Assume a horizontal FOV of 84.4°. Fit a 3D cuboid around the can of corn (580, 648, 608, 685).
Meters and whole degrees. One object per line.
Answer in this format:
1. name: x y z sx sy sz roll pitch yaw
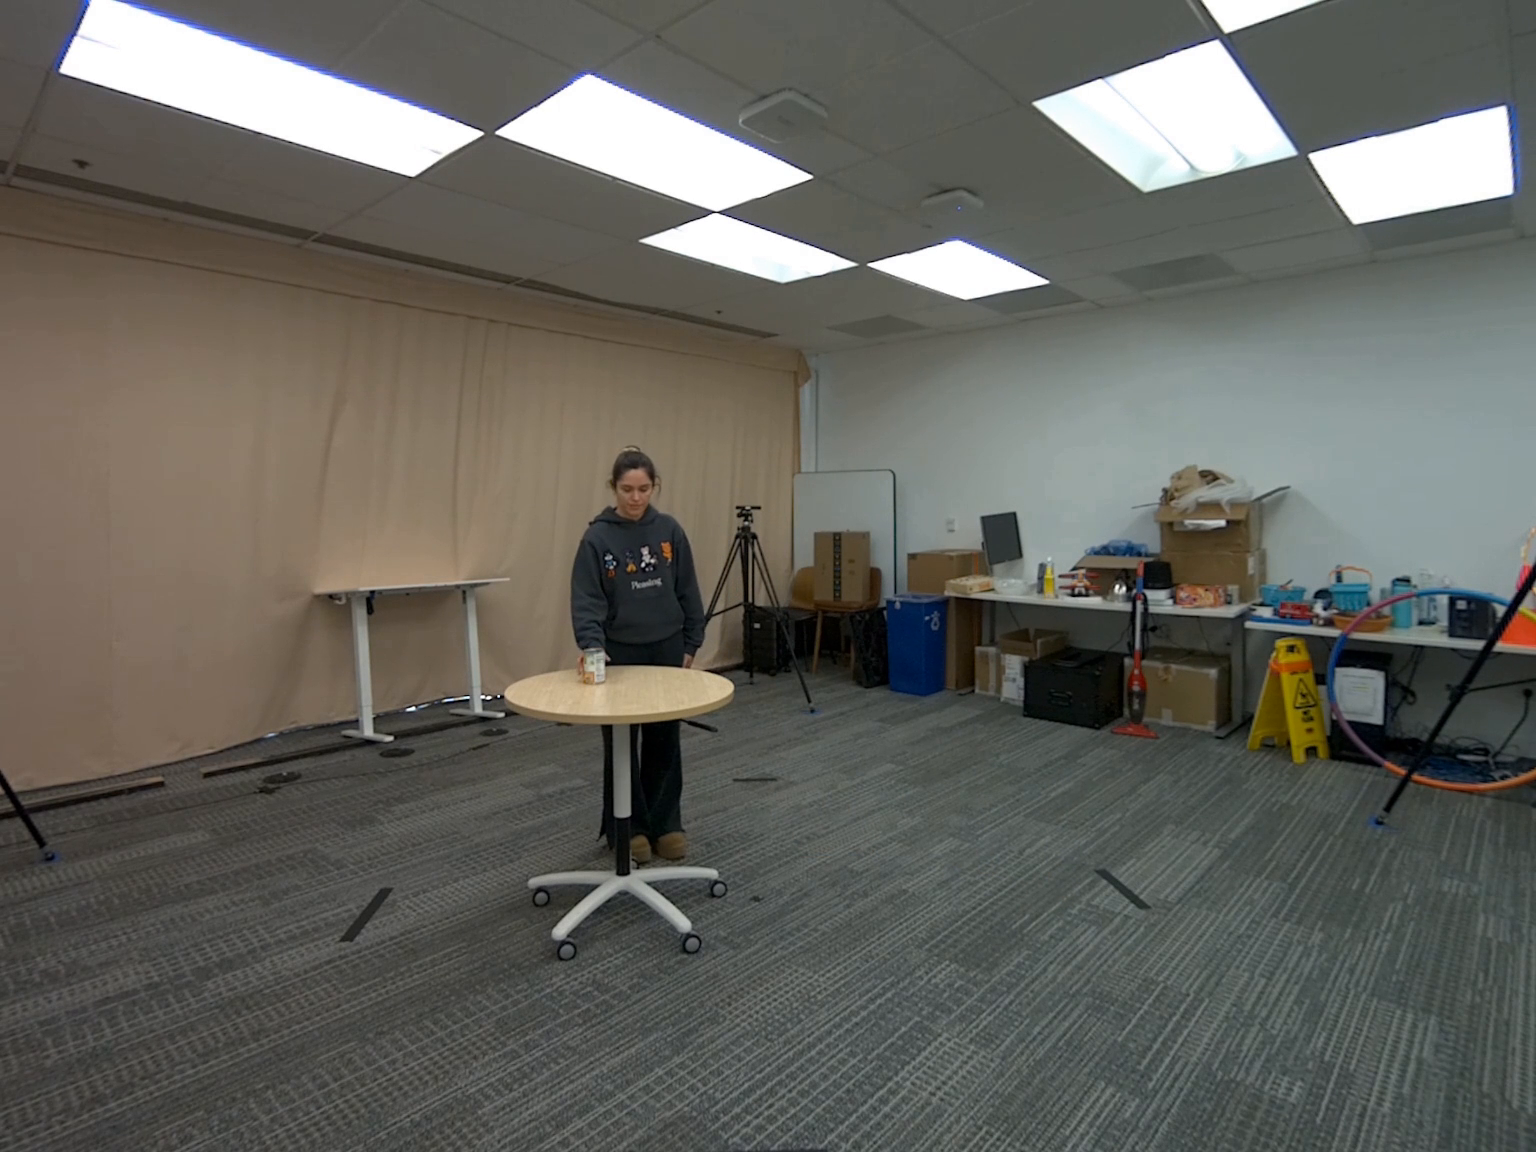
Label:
1. can of corn: -0.592 0.321 2.923 0.074 0.111 0.074 -4 -1 -2
